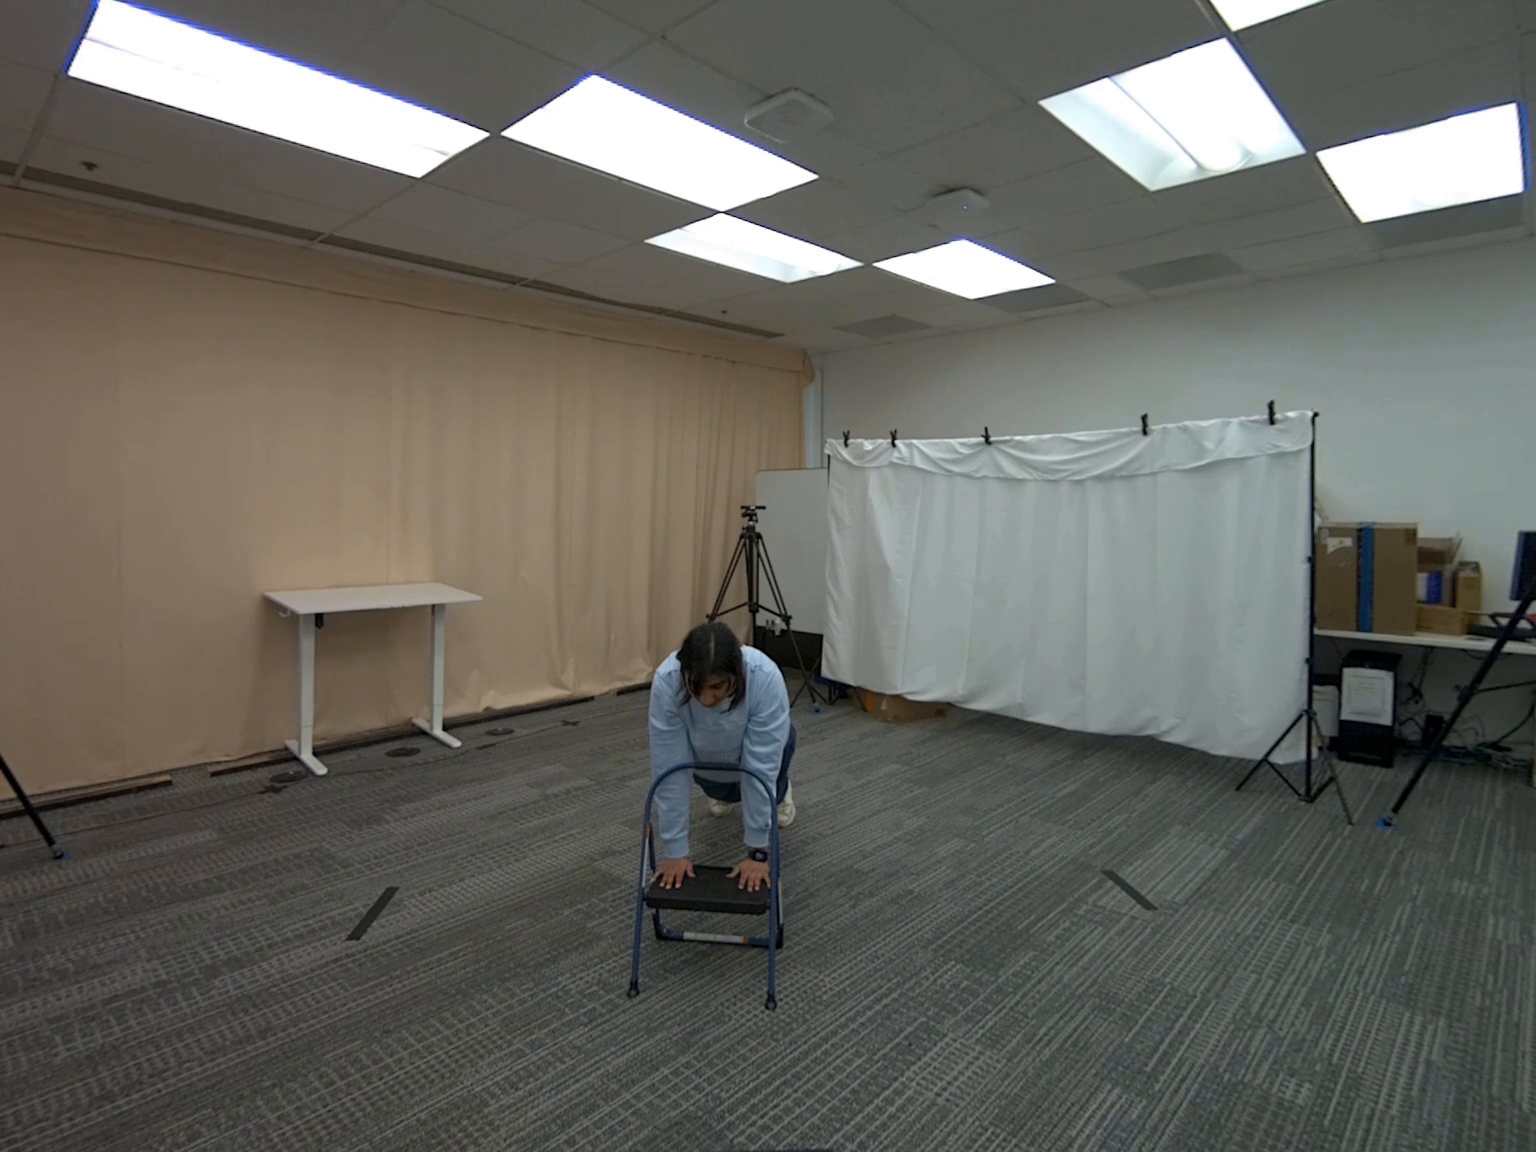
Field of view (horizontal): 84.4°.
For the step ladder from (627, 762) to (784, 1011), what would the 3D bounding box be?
[{"bbox_3d":[-0.172,0.880,2.517,0.434,0.605,0.347,1,3,7],"label":"step ladder"}]
